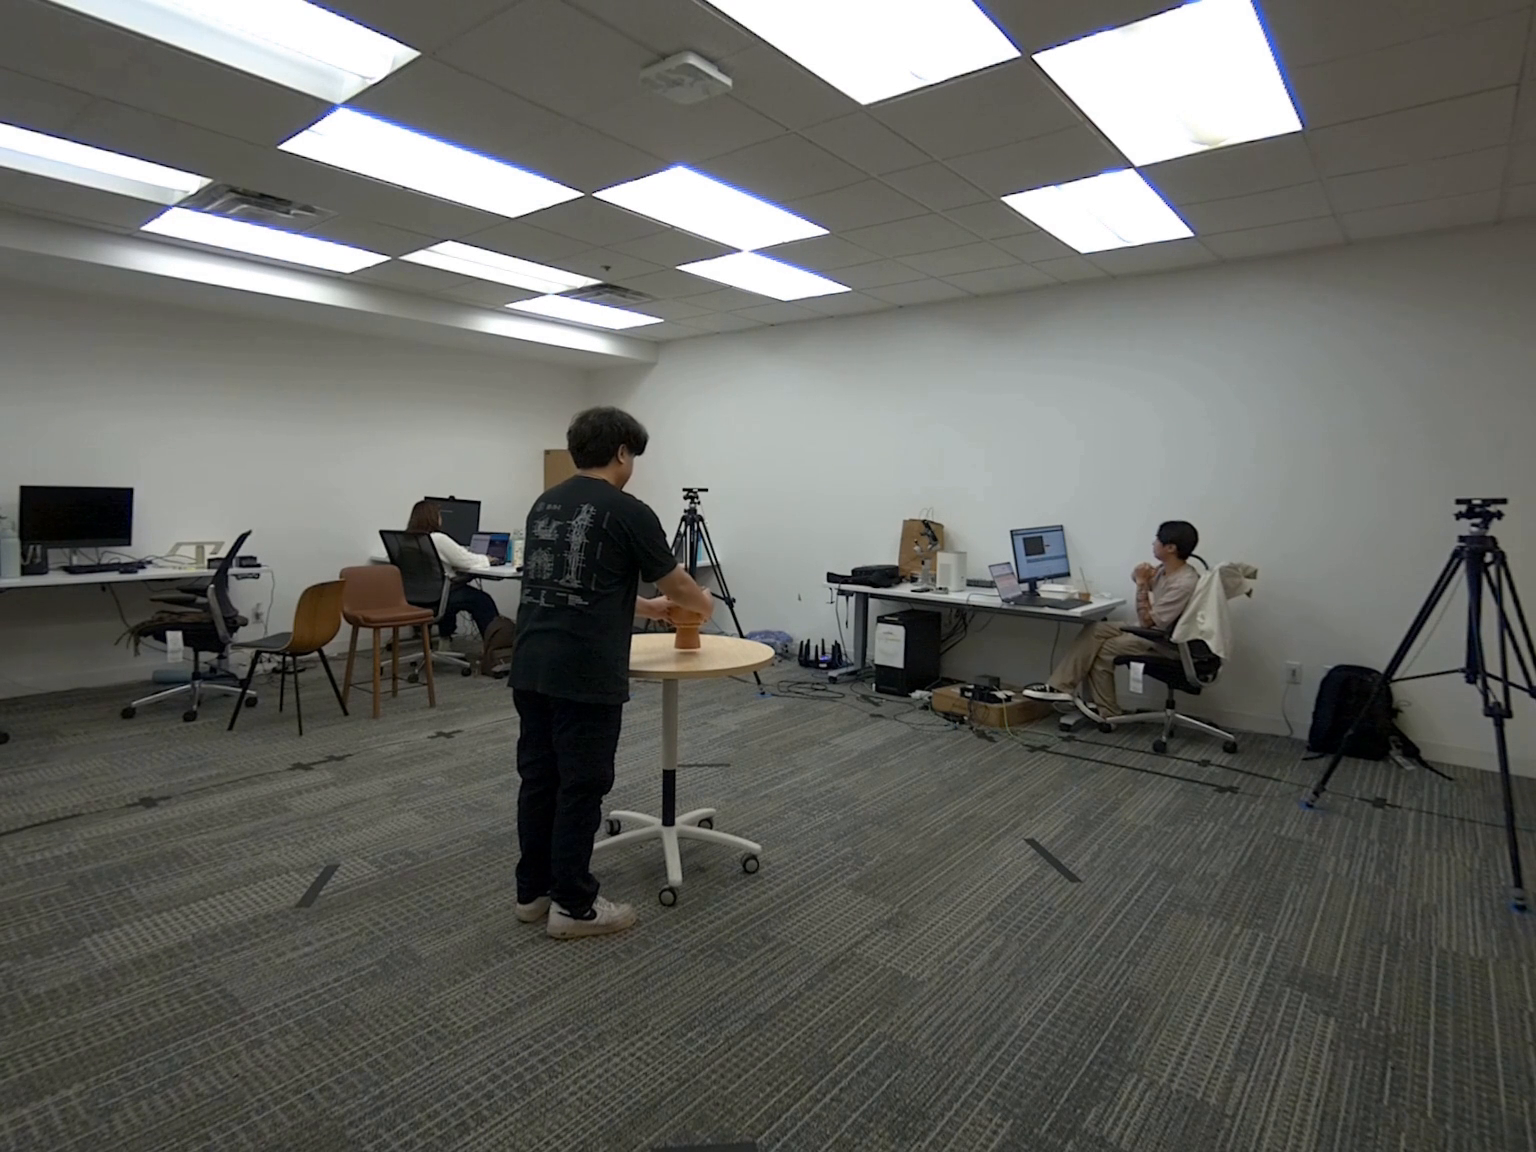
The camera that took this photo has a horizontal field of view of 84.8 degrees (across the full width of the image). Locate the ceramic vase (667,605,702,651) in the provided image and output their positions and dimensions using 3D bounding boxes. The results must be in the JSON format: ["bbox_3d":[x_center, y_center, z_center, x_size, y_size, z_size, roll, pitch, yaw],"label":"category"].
[{"bbox_3d":[-0.301,0.148,3.091,0.138,0.220,0.154,0,1,30],"label":"ceramic vase"}]
